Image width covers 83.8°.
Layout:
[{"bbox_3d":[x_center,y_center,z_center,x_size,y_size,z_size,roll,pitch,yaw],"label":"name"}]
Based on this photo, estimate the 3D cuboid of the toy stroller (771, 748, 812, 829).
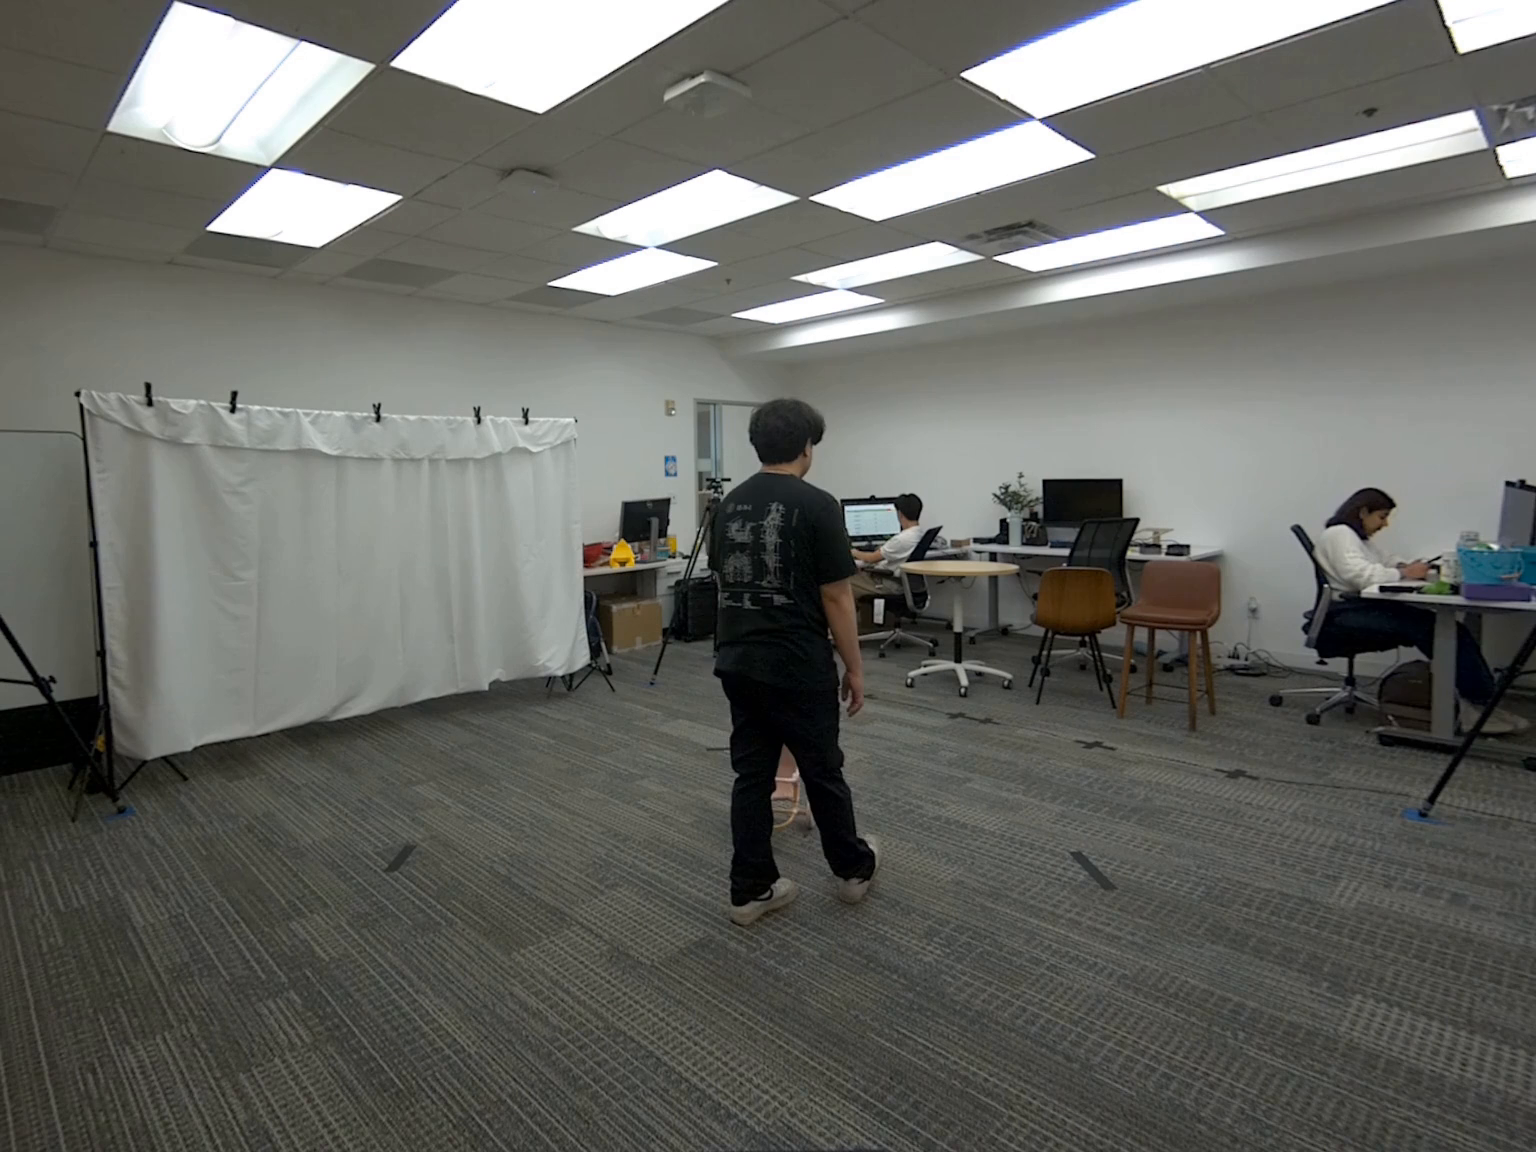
[{"bbox_3d":[0.033,0.788,3.377,0.287,0.540,0.332,0,-11,20],"label":"toy stroller"}]
